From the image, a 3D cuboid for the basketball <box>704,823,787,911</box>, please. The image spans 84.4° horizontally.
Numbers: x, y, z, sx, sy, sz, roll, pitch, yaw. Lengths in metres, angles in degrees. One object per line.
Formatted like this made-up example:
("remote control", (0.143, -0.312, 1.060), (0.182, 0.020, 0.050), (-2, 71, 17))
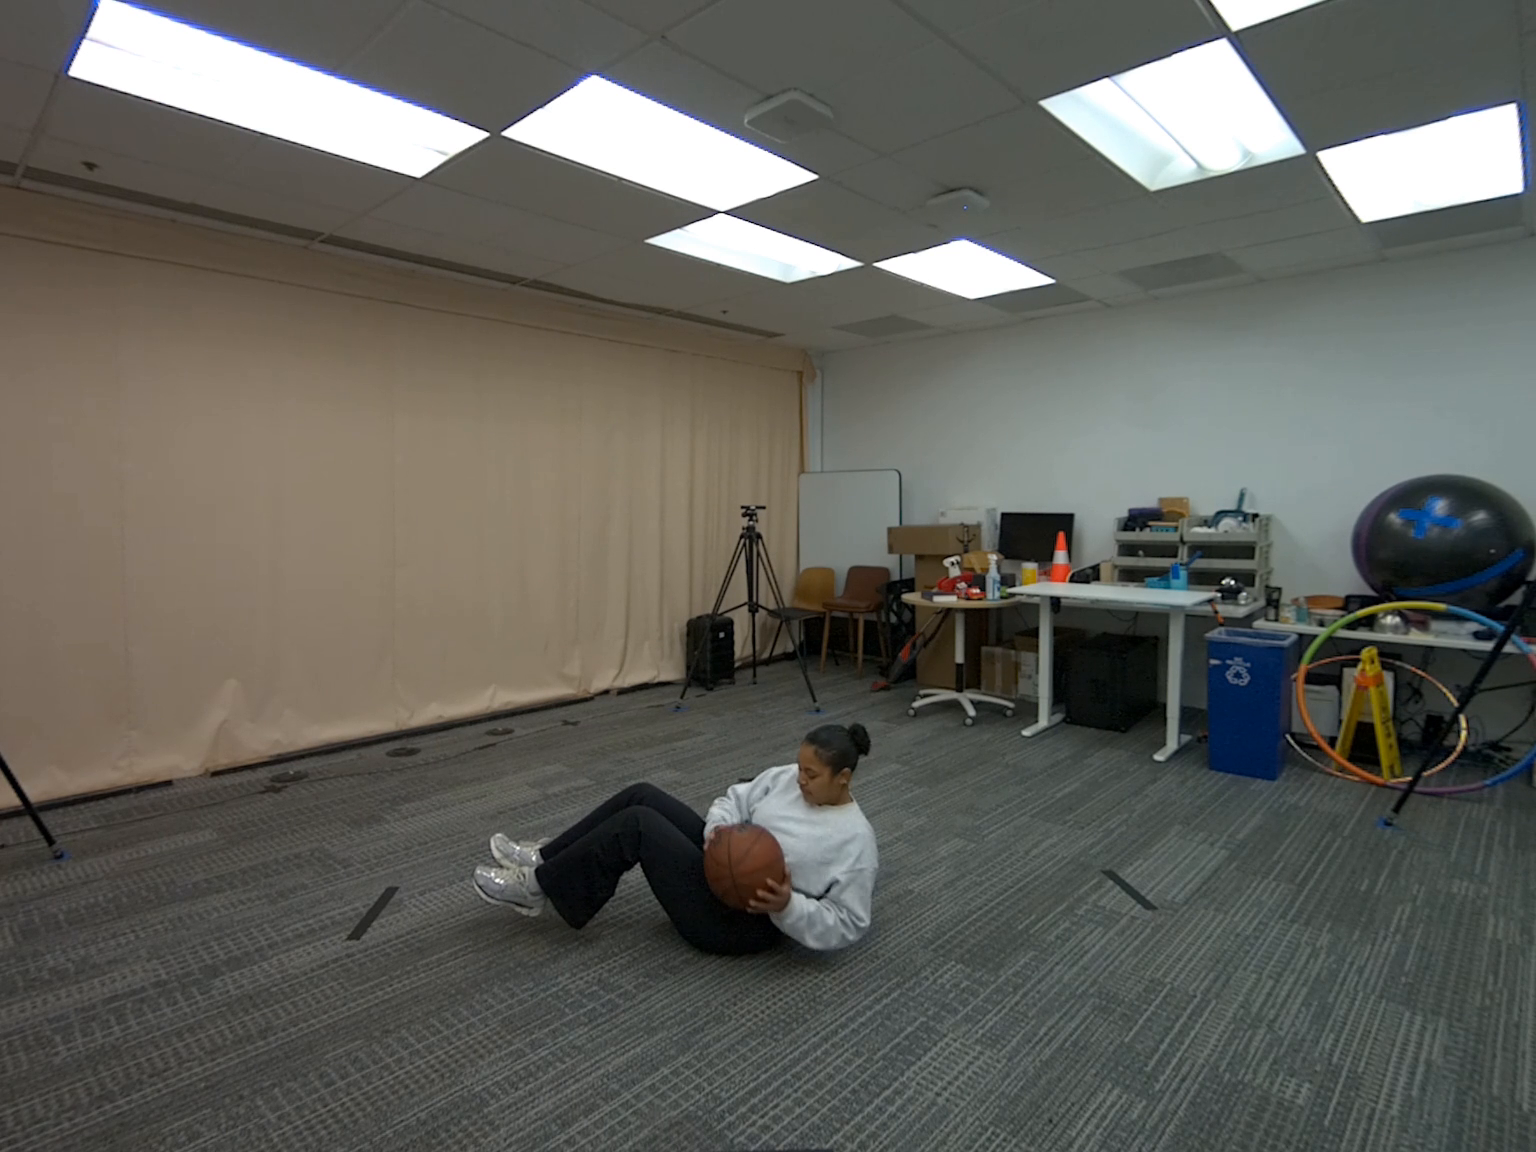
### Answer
("basketball", (-0.058, 0.850, 2.490), (0.236, 0.235, 0.237), (0, 4, -2))
